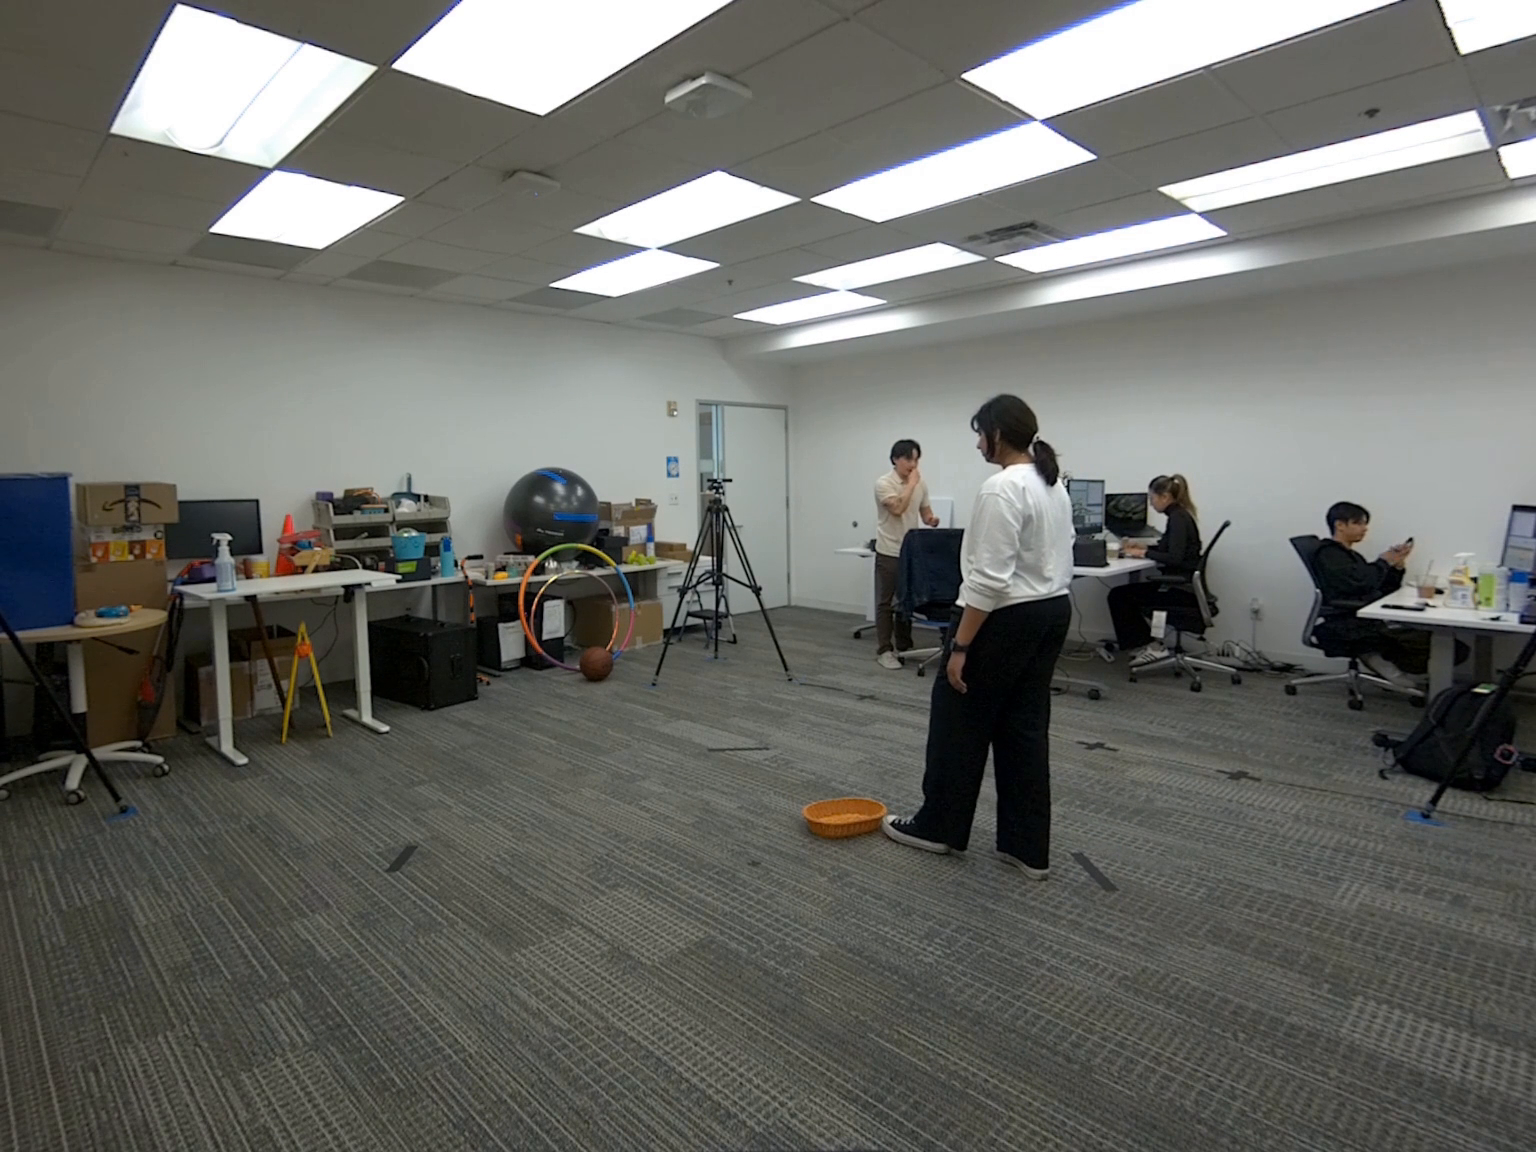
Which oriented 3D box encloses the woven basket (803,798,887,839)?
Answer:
[{"bbox_3d":[0.306,0.965,3.418,0.345,0.073,0.257,-3,5,-15],"label":"woven basket"}]
